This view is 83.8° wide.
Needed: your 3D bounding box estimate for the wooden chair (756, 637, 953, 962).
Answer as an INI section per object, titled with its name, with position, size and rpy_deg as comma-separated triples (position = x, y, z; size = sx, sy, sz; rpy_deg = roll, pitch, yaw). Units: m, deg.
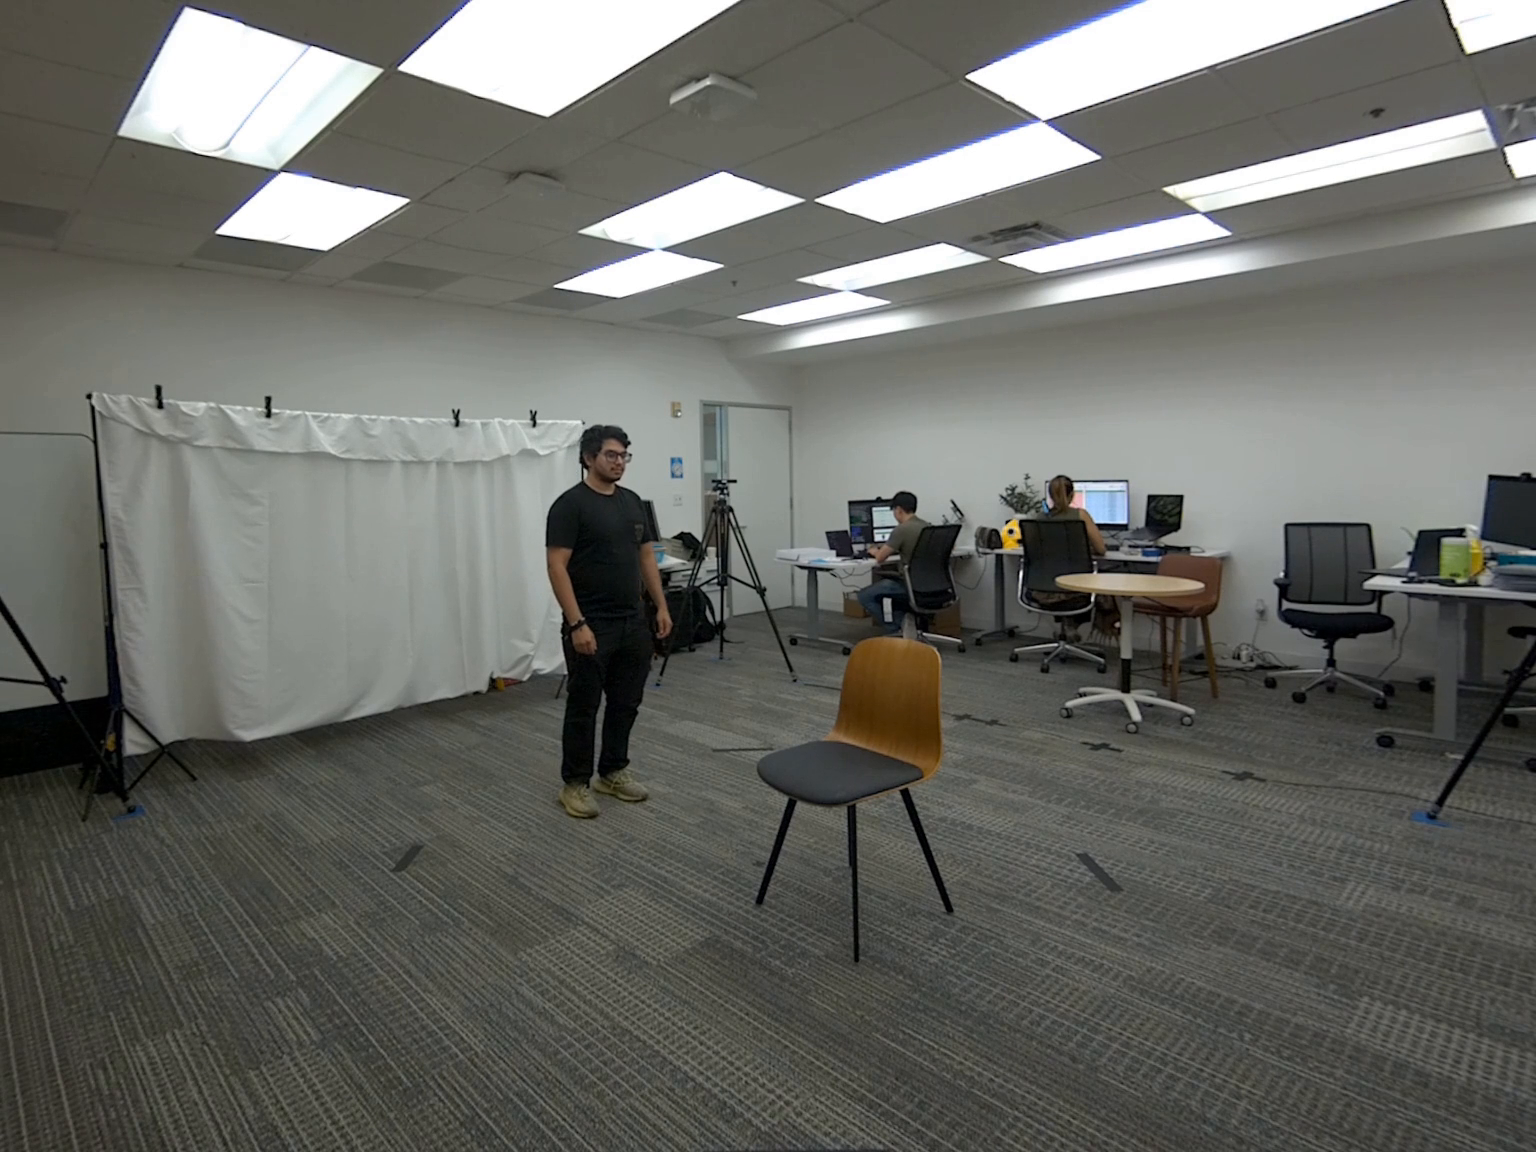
[wooden chair]
position = 0.264, 0.654, 2.738
size = 0.508, 0.876, 0.492
rpy_deg = 1, 2, -40
